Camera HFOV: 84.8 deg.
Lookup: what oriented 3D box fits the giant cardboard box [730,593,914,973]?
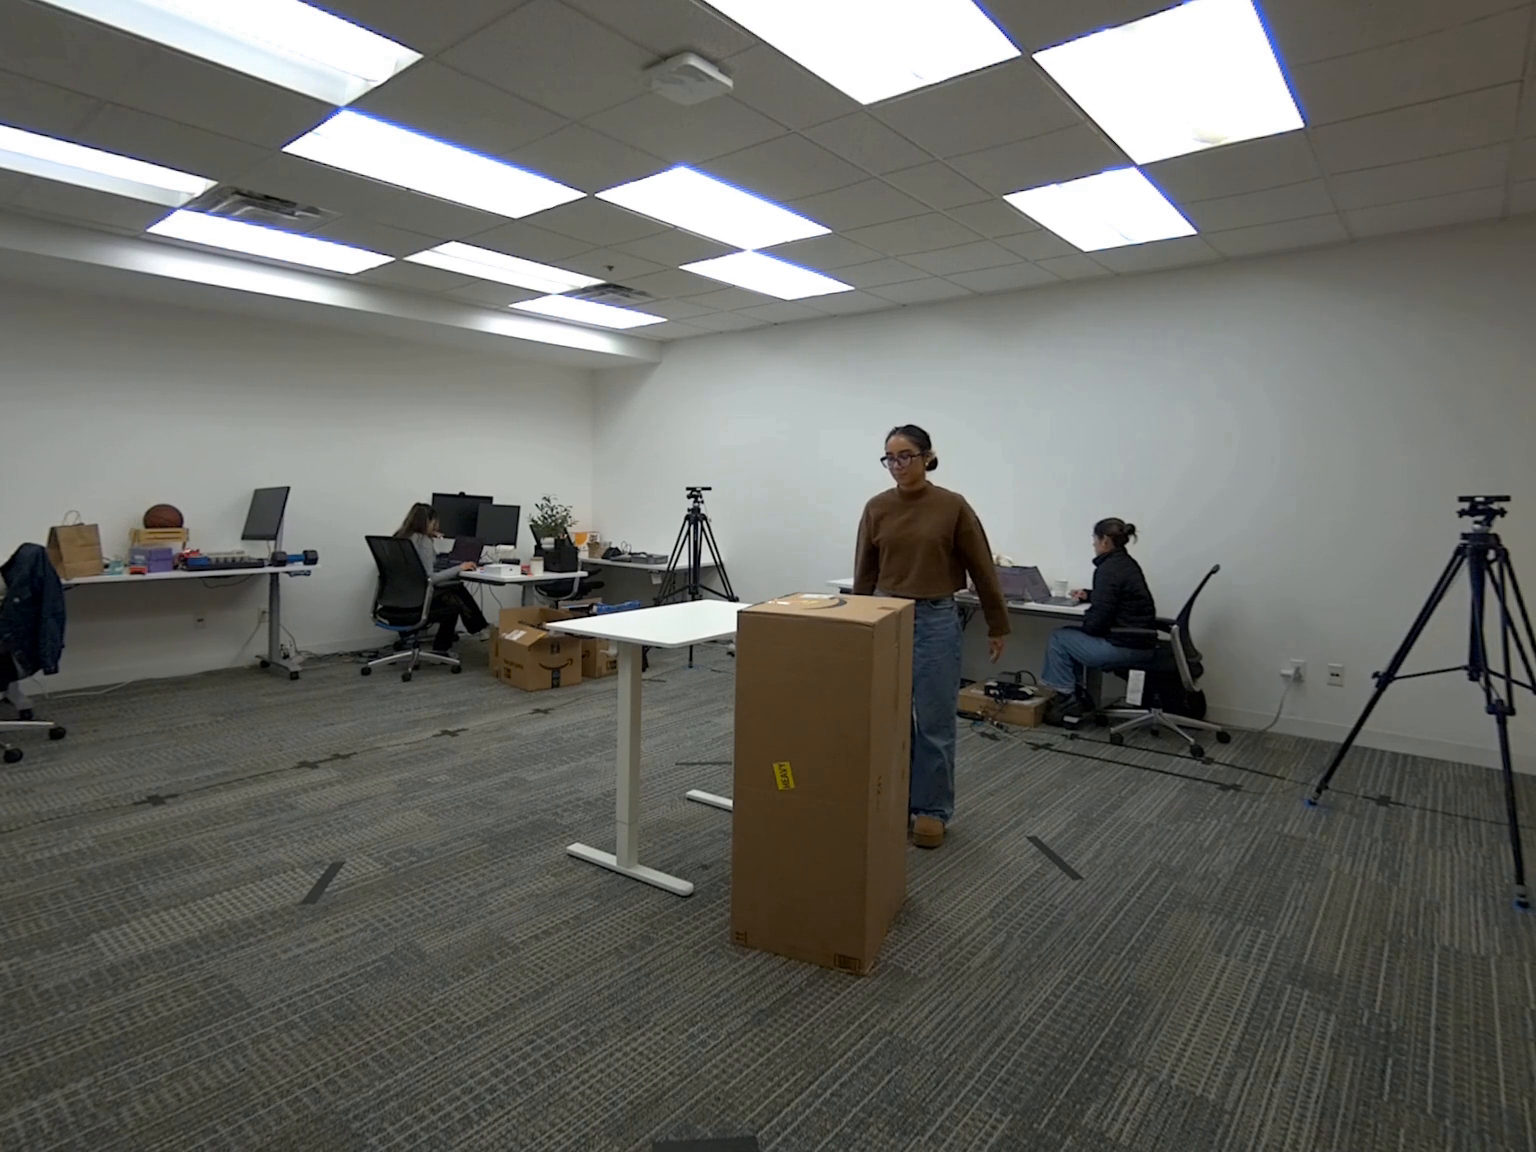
[{"bbox_3d":[0.183,0.598,2.746,0.436,1.023,0.565,3,4,22],"label":"giant cardboard box"}]
